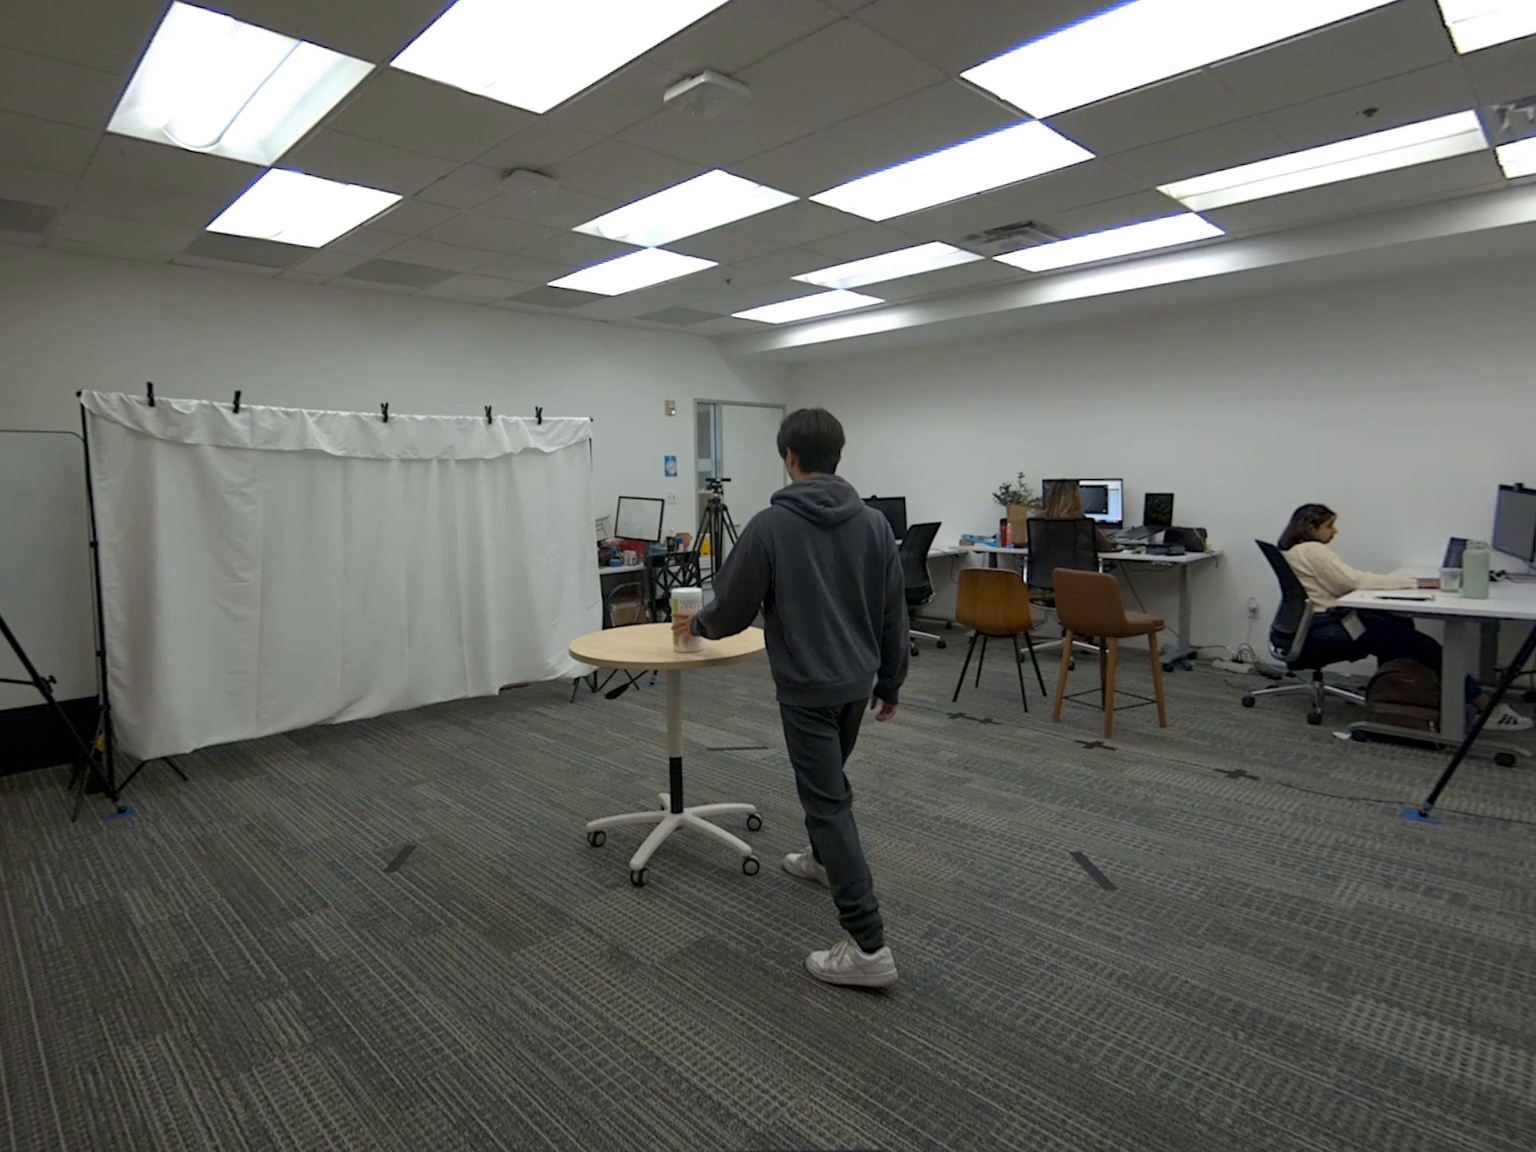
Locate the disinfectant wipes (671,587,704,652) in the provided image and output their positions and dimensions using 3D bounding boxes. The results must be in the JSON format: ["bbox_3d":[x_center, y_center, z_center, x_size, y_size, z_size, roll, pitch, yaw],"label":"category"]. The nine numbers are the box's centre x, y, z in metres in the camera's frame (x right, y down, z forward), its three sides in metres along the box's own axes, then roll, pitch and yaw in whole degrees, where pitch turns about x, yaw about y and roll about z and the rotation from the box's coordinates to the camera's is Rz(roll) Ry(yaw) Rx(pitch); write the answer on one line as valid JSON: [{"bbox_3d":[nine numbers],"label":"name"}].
[{"bbox_3d":[-0.279,0.155,3.000,0.118,0.217,0.118,-3,3,-1],"label":"disinfectant wipes"}]
